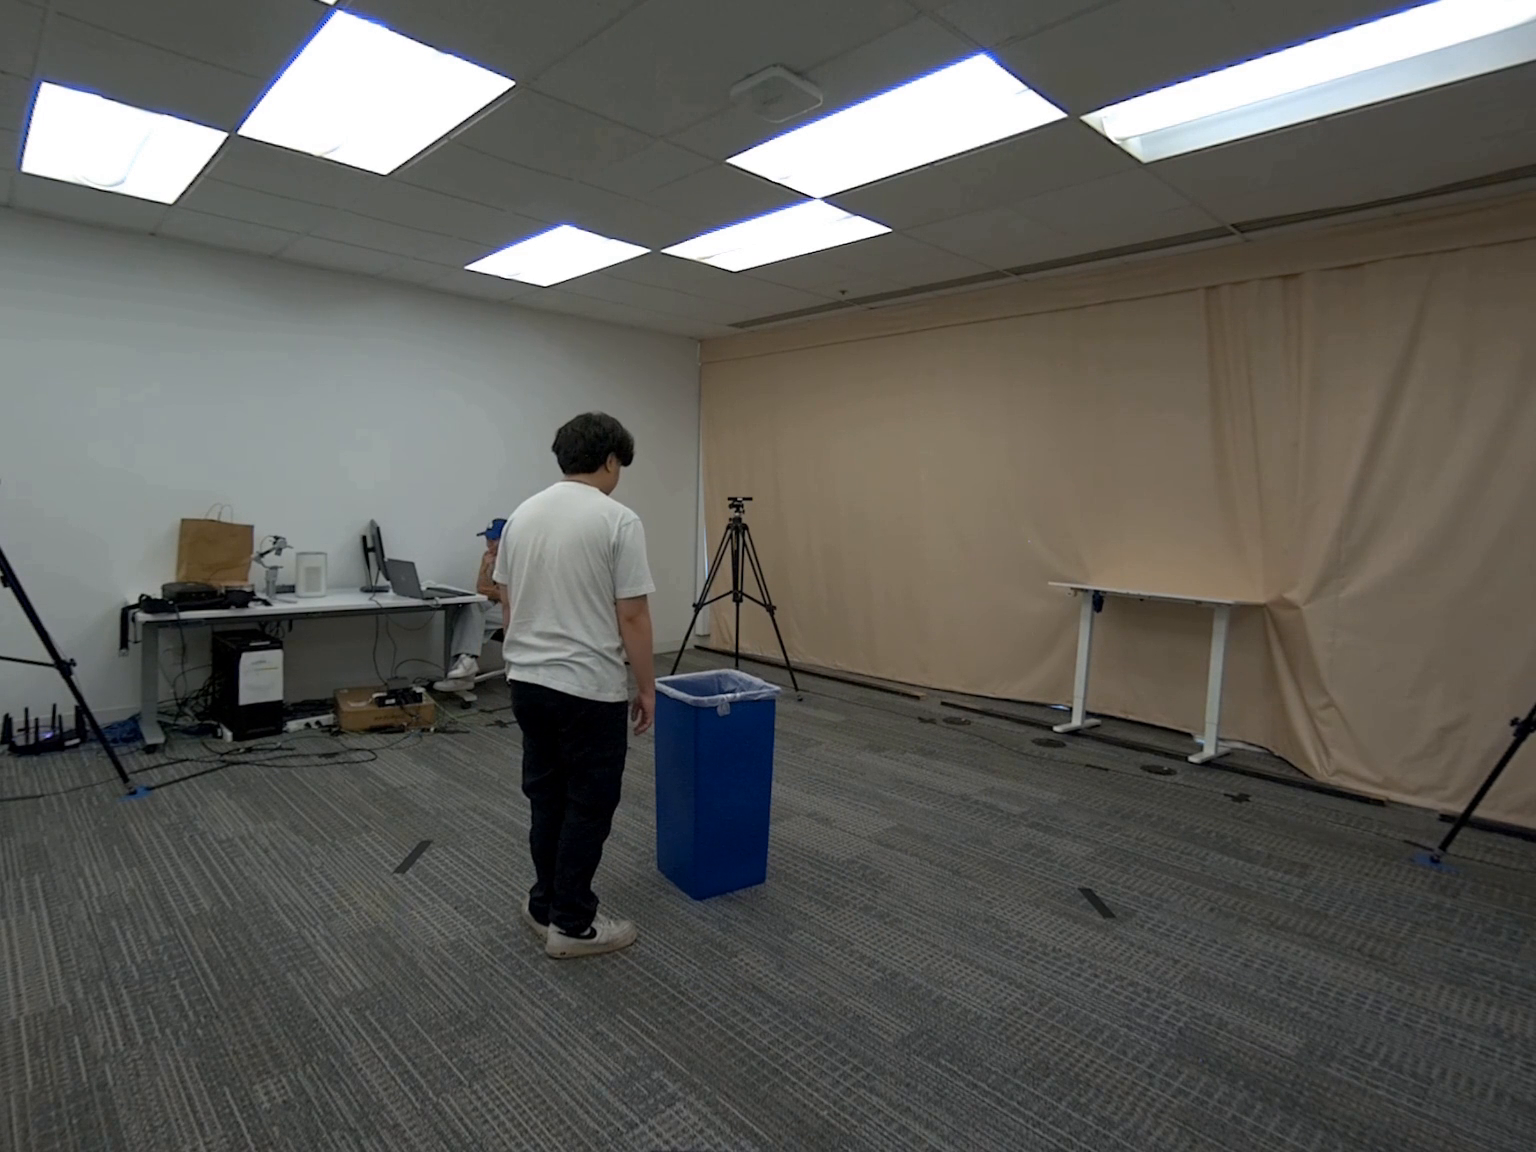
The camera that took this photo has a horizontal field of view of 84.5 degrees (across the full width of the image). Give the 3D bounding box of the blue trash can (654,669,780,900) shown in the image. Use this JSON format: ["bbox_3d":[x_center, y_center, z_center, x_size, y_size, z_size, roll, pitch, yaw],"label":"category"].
[{"bbox_3d":[-0.216,0.748,3.095,0.370,0.712,0.383,-1,4,-34],"label":"blue trash can"}]
